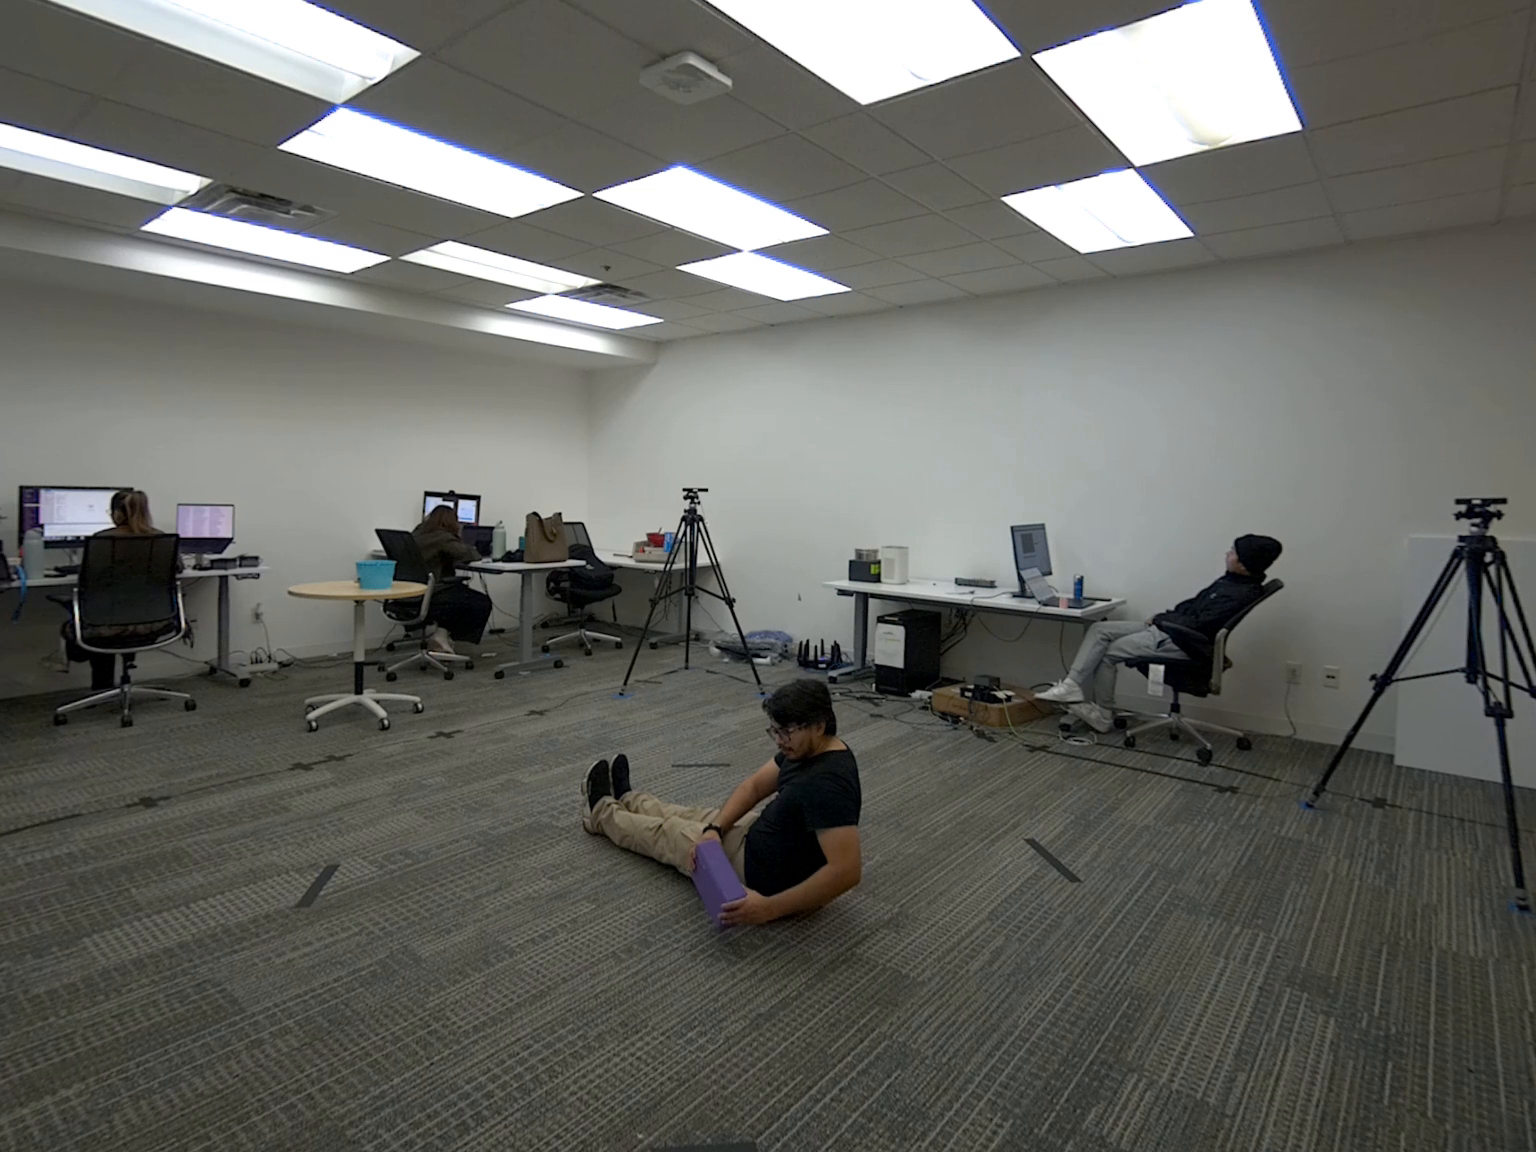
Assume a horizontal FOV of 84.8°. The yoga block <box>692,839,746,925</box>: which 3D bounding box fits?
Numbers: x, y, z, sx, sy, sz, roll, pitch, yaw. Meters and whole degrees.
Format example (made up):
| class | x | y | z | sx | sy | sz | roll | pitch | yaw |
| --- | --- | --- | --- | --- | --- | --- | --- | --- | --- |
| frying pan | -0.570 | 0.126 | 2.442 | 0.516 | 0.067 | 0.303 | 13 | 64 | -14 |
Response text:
| class | x | y | z | sx | sy | sz | roll | pitch | yaw |
| --- | --- | --- | --- | --- | --- | --- | --- | --- | --- |
| yoga block | -0.153 | 0.965 | 2.652 | 0.075 | 0.146 | 0.237 | -1 | 27 | -13 |
